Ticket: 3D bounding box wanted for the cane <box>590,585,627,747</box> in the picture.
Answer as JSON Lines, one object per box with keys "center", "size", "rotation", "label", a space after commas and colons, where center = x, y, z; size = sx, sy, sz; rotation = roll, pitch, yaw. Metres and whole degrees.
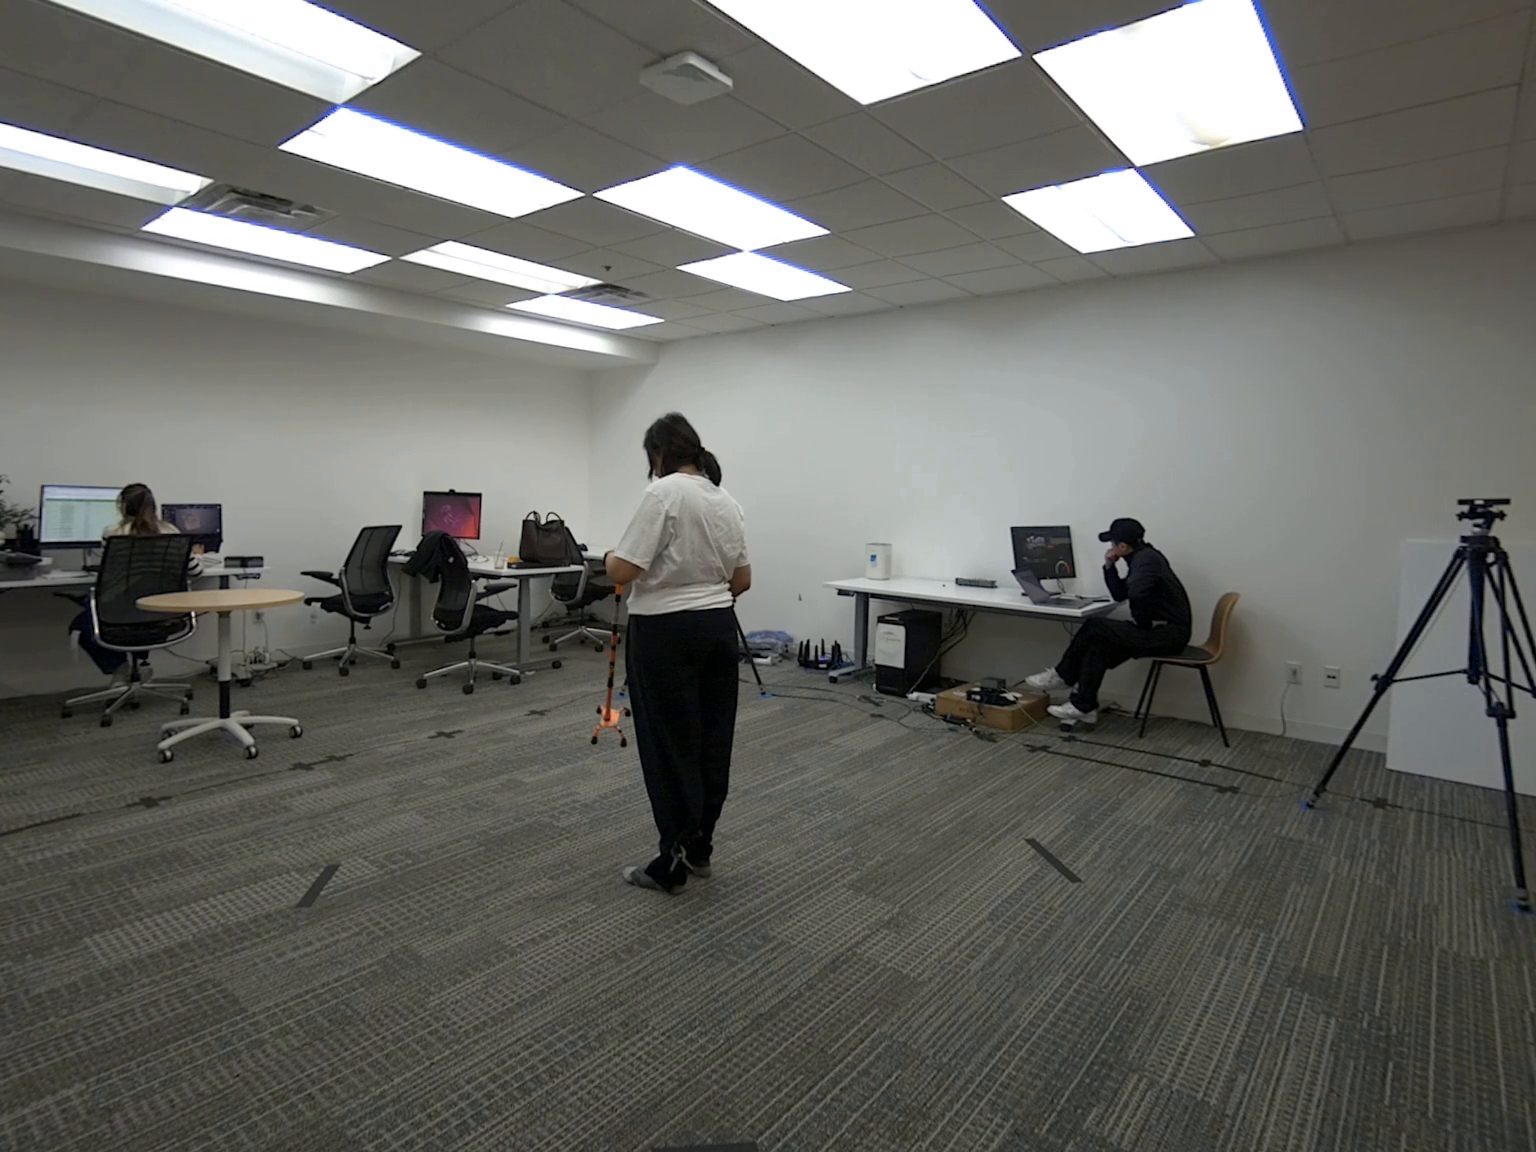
{"center": [-0.611, 0.285, 3.383], "size": [0.150, 0.890, 0.213], "rotation": [5, 32, -11], "label": "cane"}
